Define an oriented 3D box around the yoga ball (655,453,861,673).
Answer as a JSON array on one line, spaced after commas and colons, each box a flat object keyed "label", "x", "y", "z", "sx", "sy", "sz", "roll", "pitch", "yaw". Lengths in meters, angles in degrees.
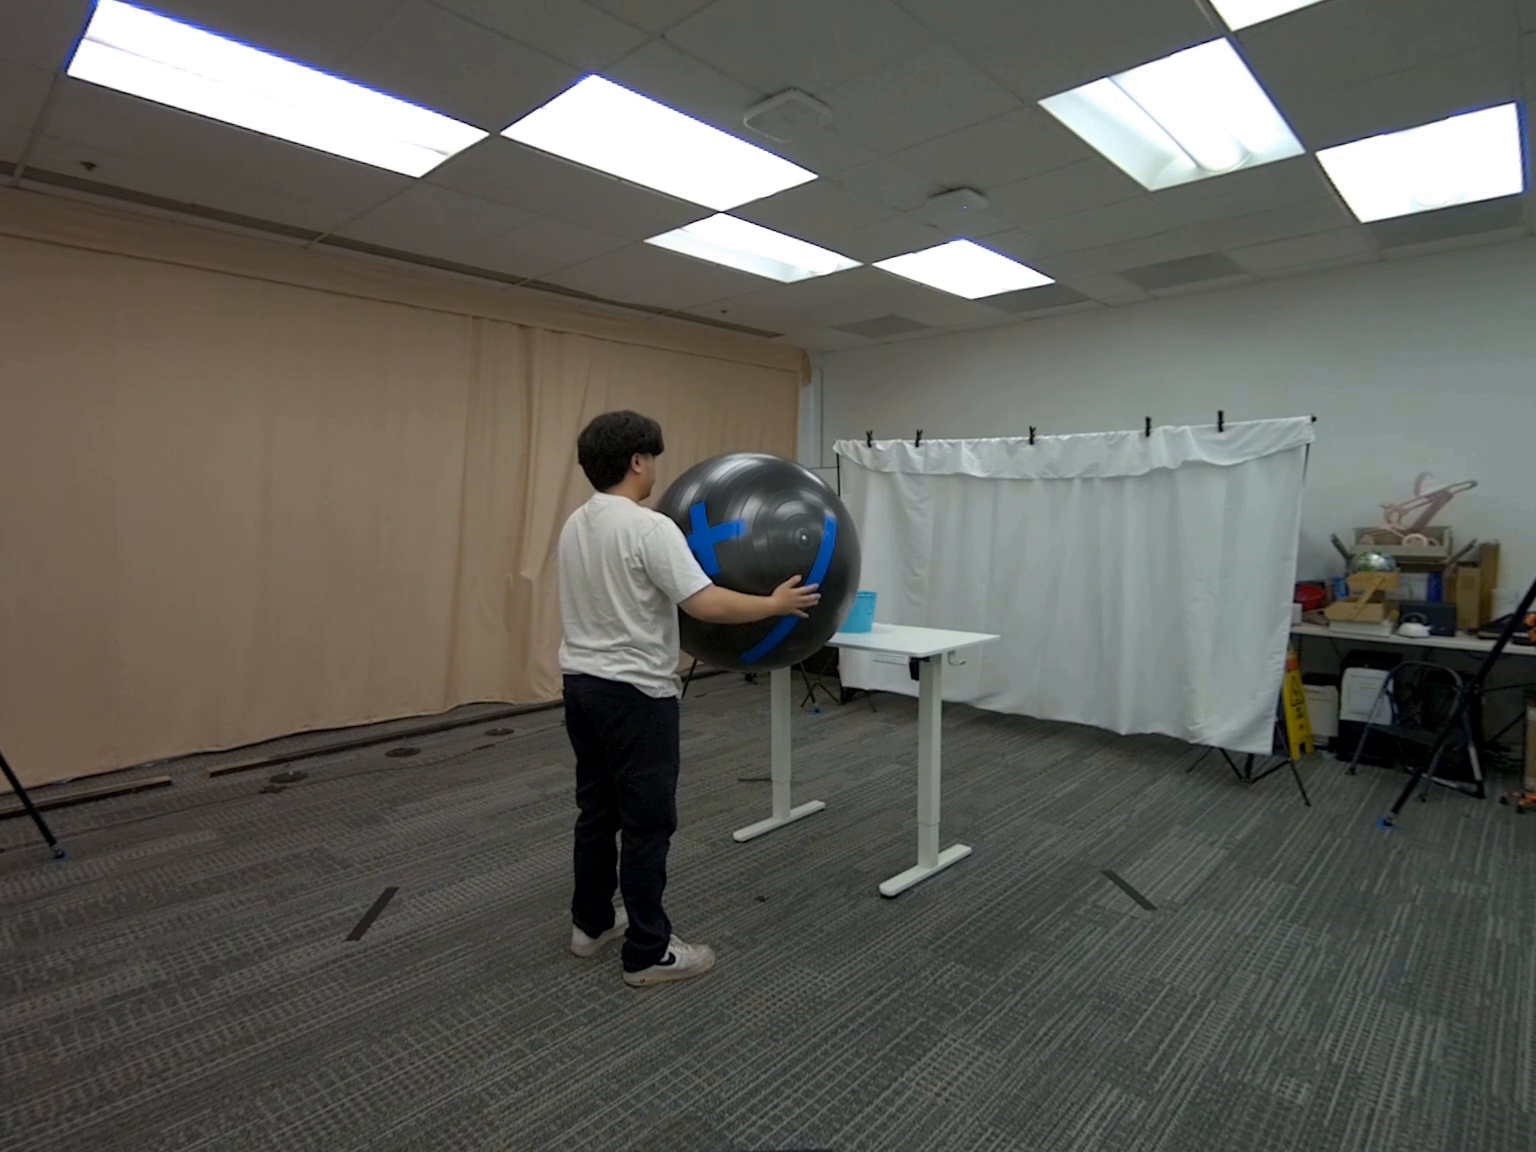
[{"label": "yoga ball", "x": -0.056, "y": -0.045, "z": 2.906, "sx": 0.757, "sy": 0.756, "sz": 0.760, "roll": 0, "pitch": 4, "yaw": -2}]
